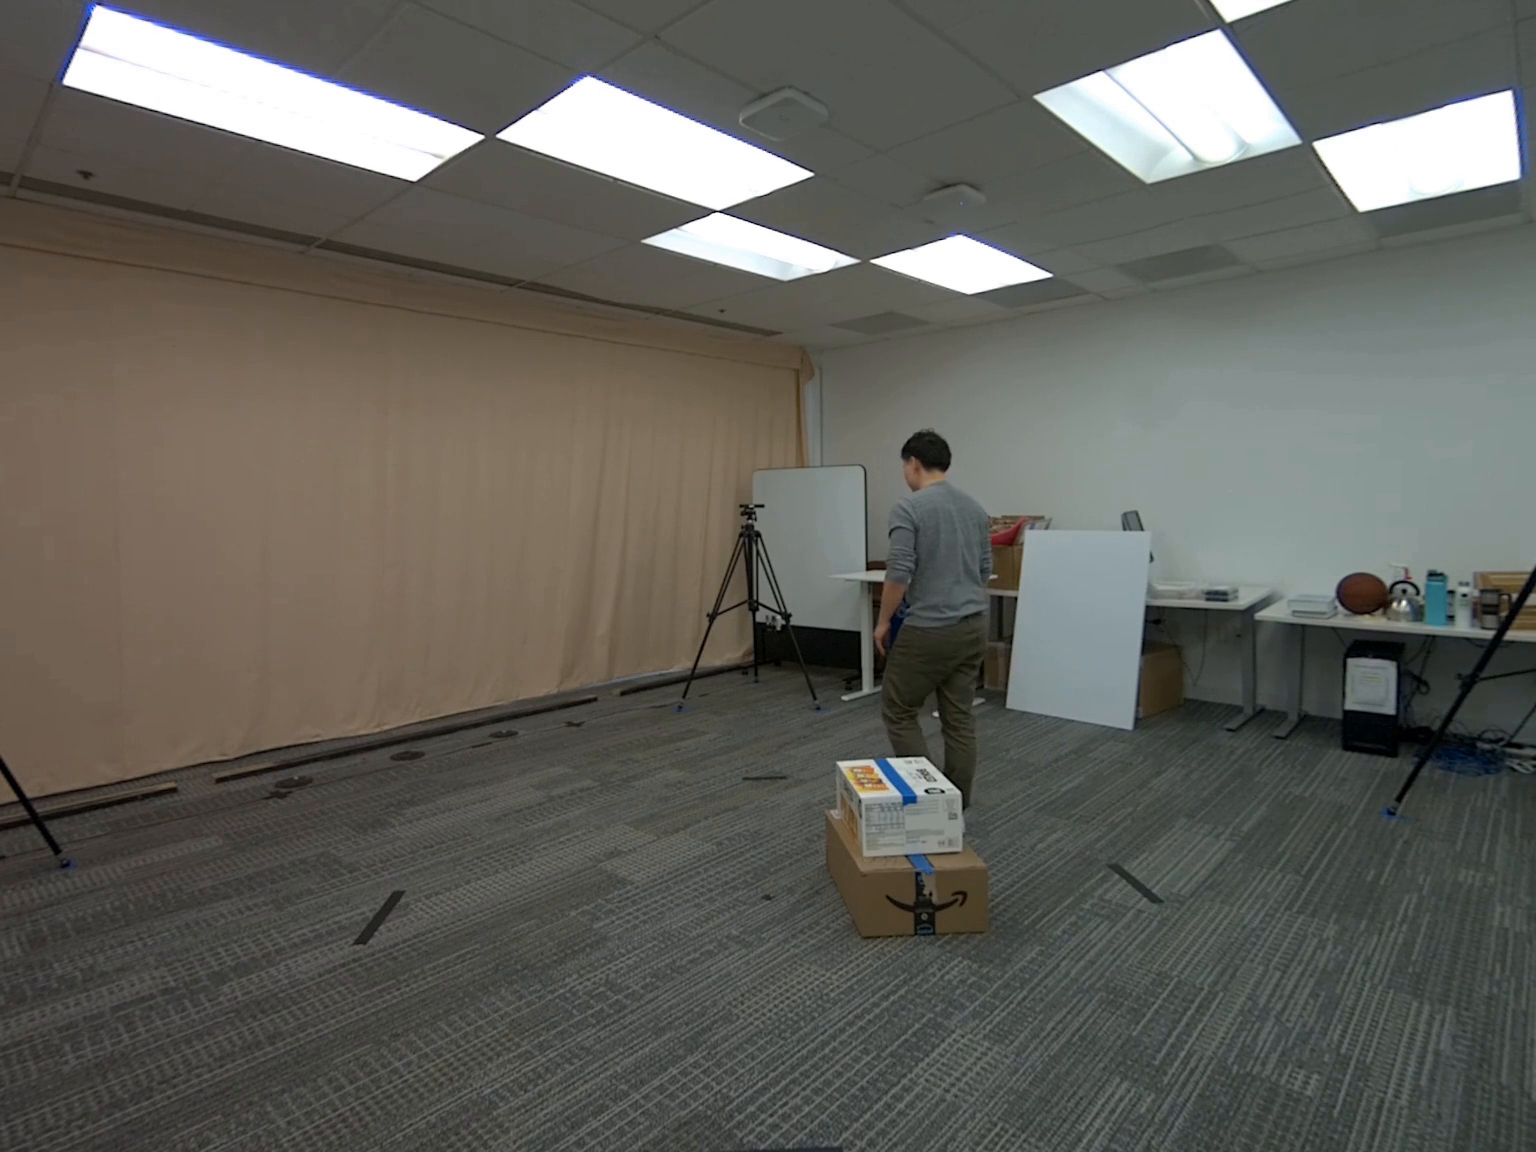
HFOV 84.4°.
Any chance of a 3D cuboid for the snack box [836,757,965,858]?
[{"bbox_3d":[0.459,0.814,2.999,0.338,0.205,0.408,-3,5,-6],"label":"snack box"}]
